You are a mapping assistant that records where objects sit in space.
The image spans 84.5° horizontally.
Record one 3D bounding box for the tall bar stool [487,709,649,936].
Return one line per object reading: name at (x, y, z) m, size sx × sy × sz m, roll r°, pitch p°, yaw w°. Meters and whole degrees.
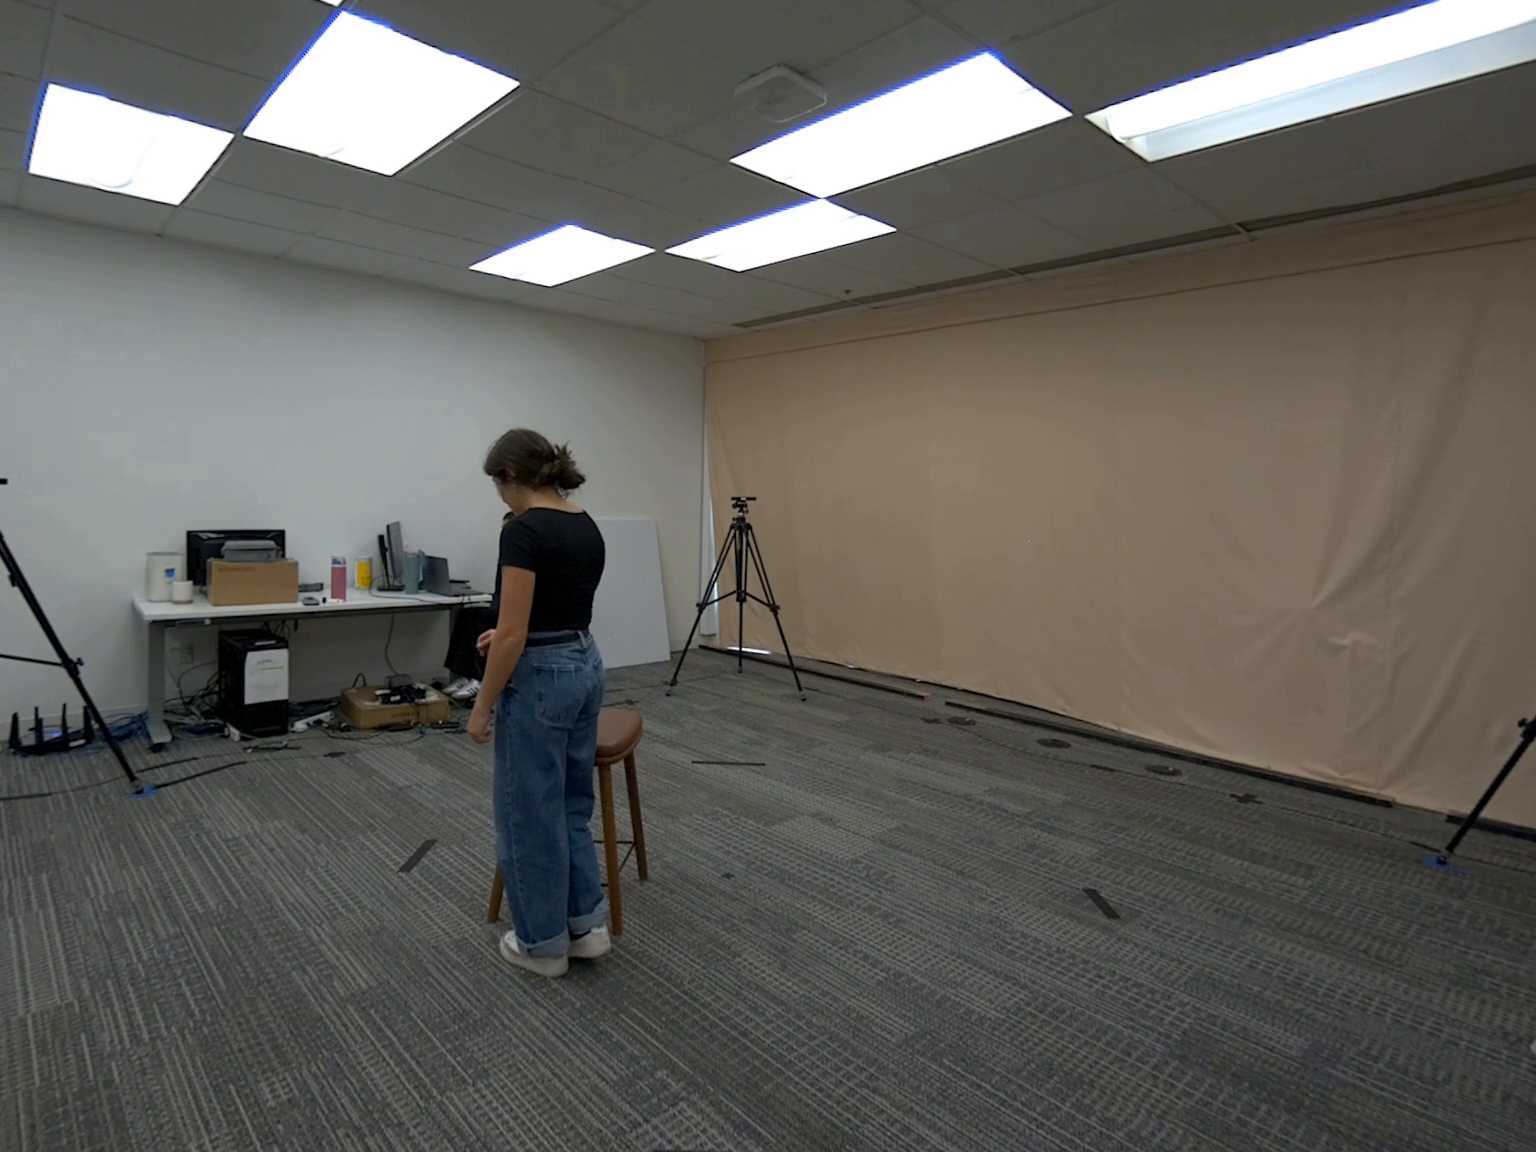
tall bar stool at (-0.679, 0.682, 2.870) m, size 0.470 × 0.887 × 0.455 m, roll 0°, pitch 4°, yaw 5°
